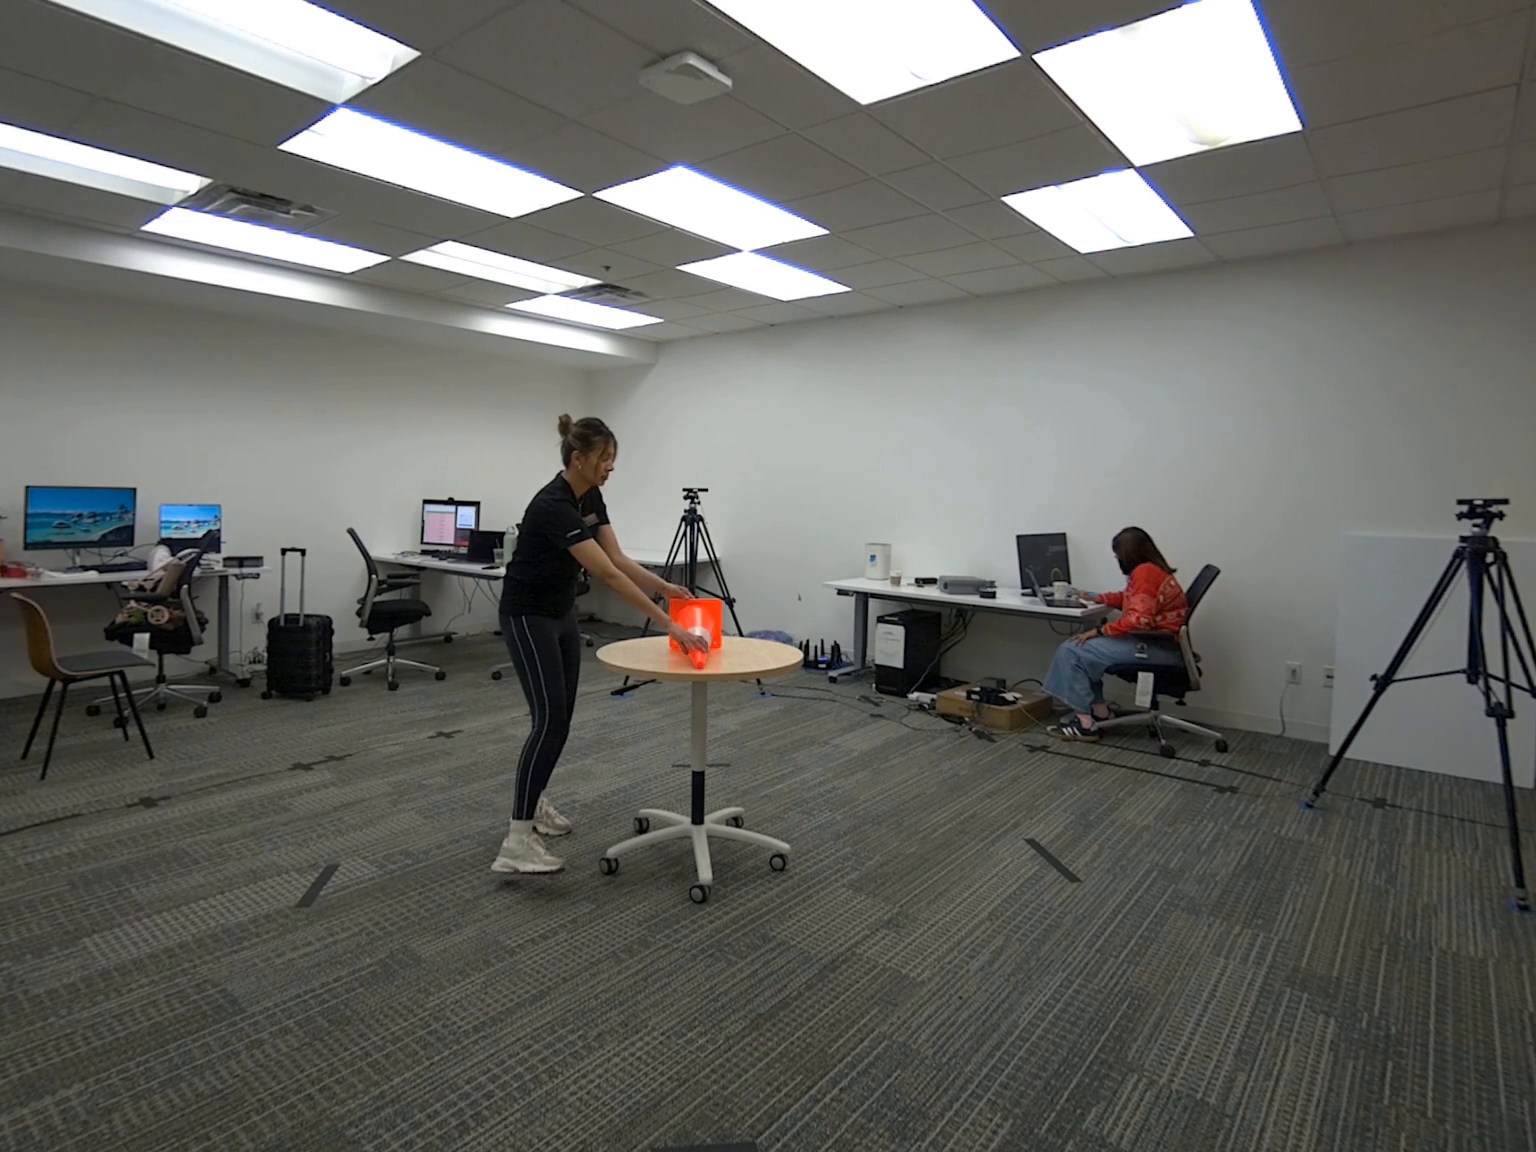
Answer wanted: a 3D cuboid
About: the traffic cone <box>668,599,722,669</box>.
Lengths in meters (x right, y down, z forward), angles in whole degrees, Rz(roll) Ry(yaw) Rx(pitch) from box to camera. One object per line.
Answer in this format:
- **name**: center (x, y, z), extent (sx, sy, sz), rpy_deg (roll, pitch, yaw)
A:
- **traffic cone**: center (-0.265, 0.237, 3.017), extent (0.202, 0.202, 0.391), rpy_deg (2, 15, -8)
